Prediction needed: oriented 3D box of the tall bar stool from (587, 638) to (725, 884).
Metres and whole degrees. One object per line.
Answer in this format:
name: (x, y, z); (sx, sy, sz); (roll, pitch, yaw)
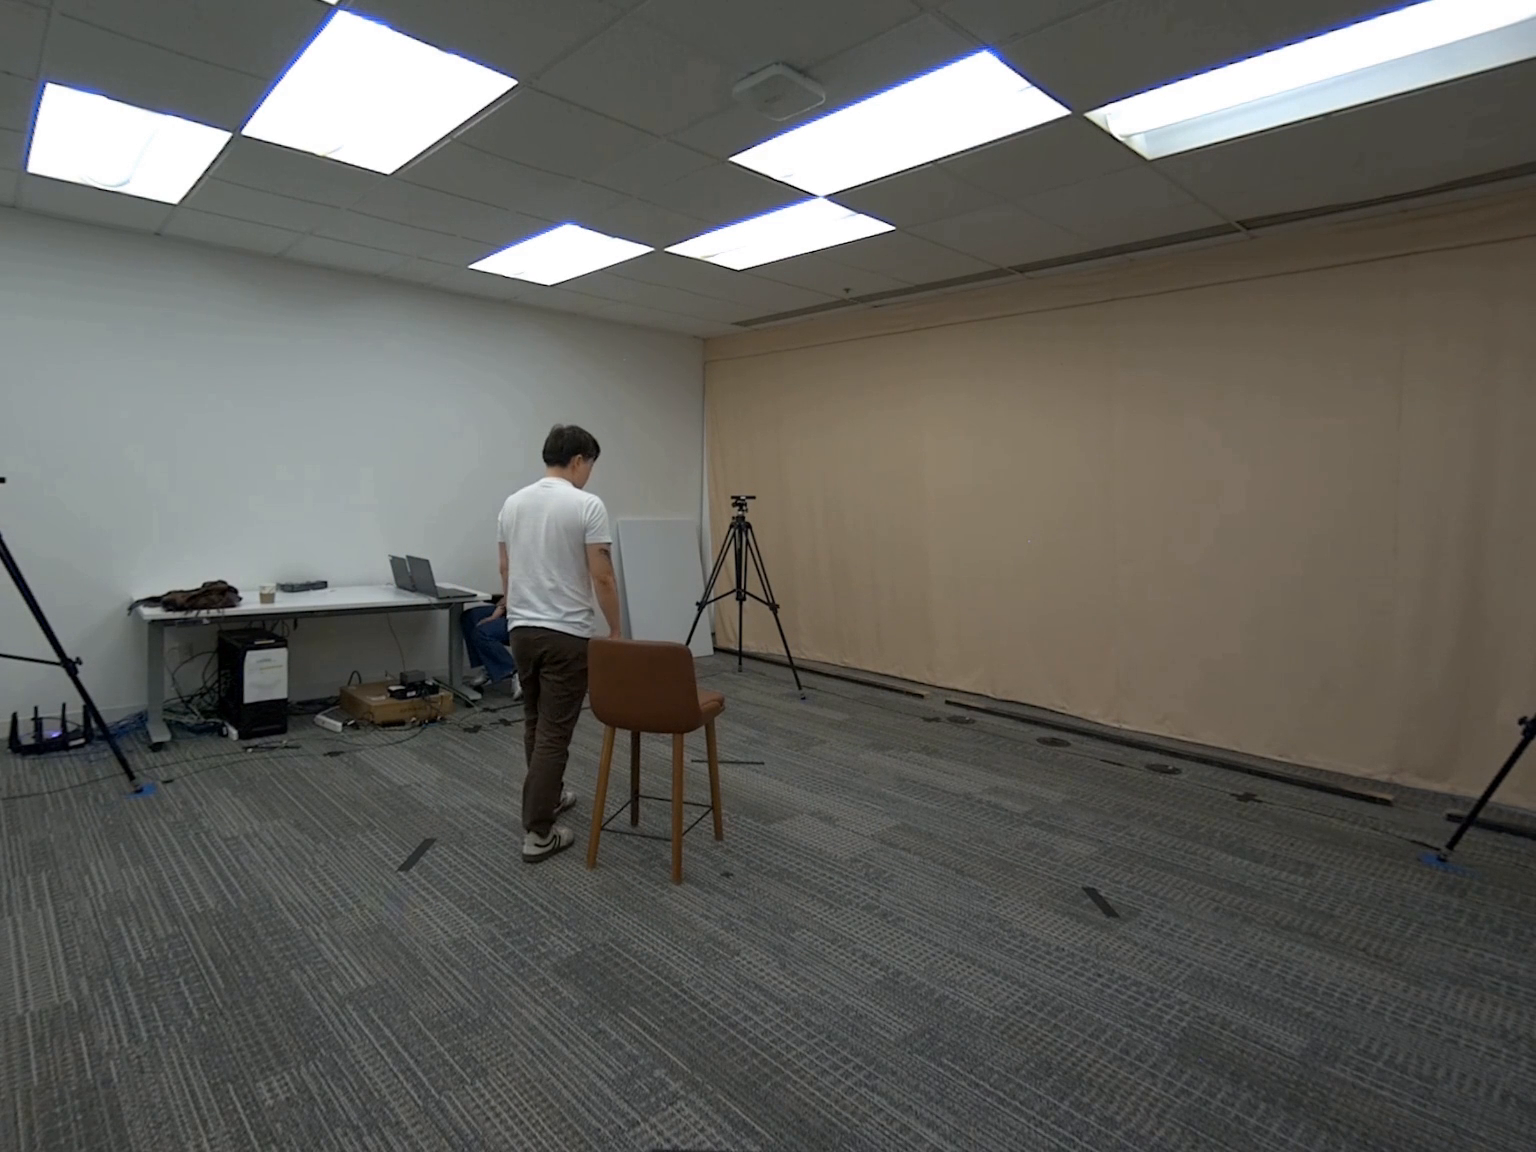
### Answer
tall bar stool: (-0.438, 0.650, 3.255); (0.464, 0.887, 0.462); (2, 4, 19)
